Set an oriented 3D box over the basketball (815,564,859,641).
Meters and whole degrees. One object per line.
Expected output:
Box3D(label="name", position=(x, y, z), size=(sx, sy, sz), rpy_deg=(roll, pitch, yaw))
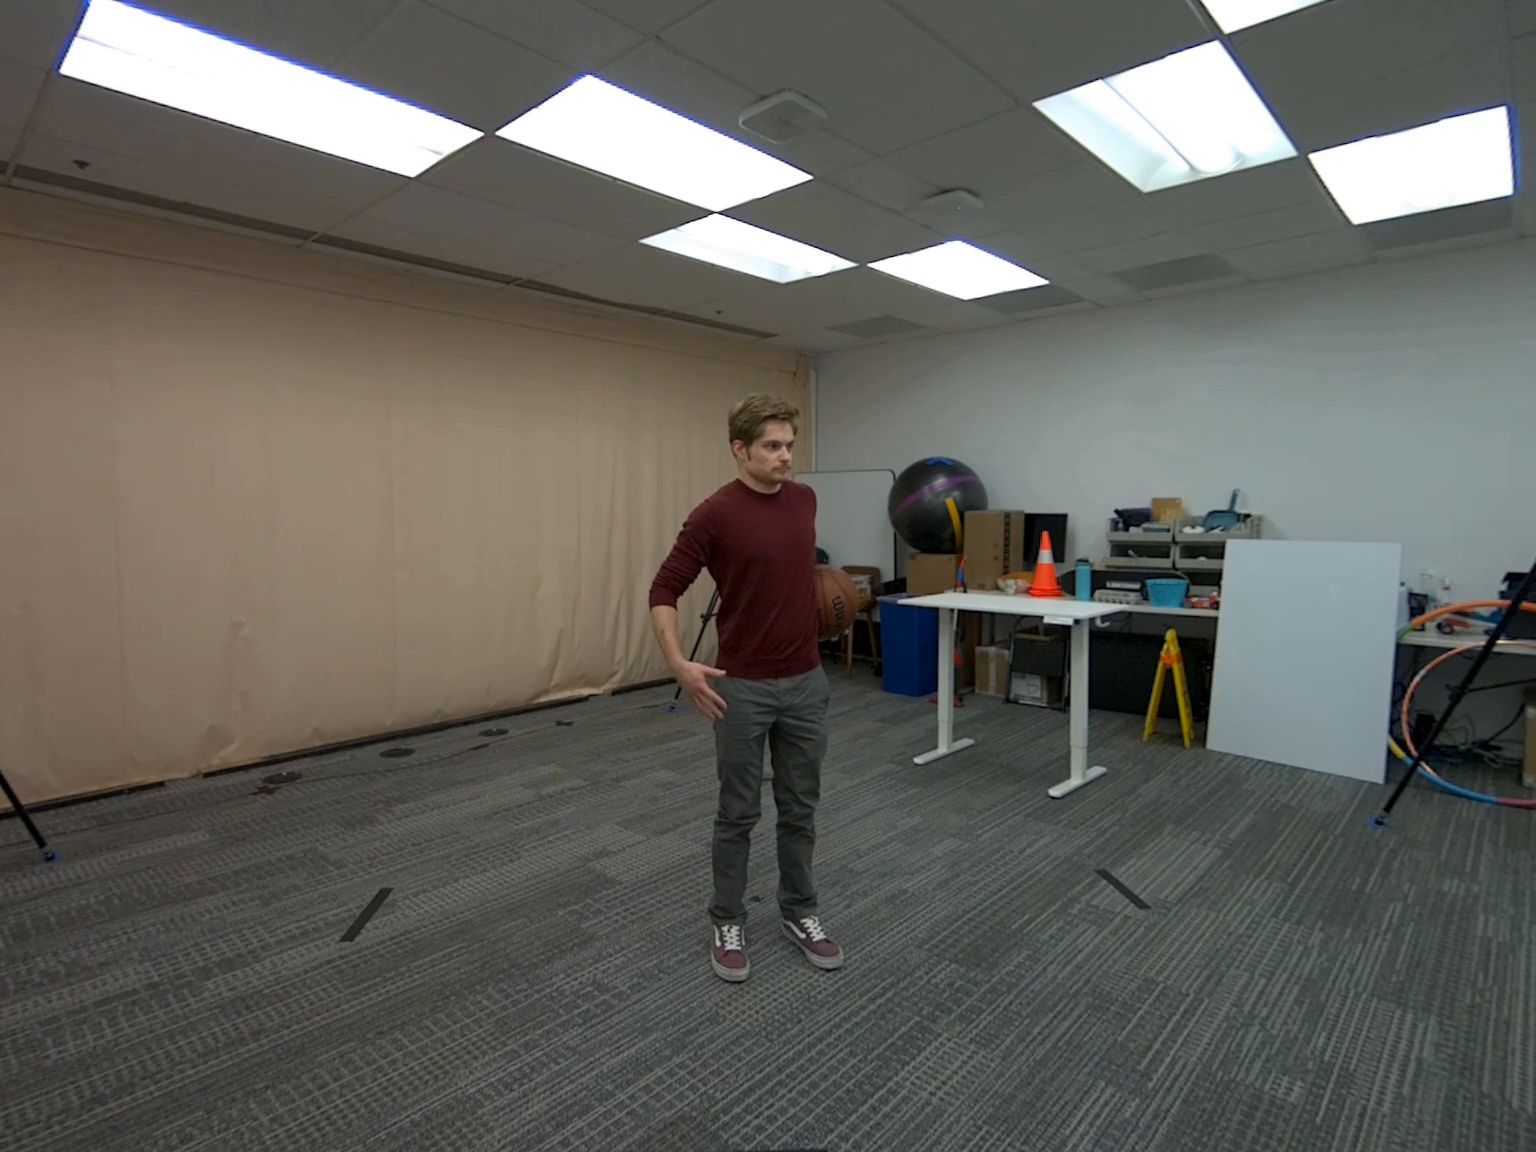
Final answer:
Box3D(label="basketball", position=(0.184, 0.085, 2.730), size=(0.236, 0.235, 0.237), rpy_deg=(0, 4, -2))
